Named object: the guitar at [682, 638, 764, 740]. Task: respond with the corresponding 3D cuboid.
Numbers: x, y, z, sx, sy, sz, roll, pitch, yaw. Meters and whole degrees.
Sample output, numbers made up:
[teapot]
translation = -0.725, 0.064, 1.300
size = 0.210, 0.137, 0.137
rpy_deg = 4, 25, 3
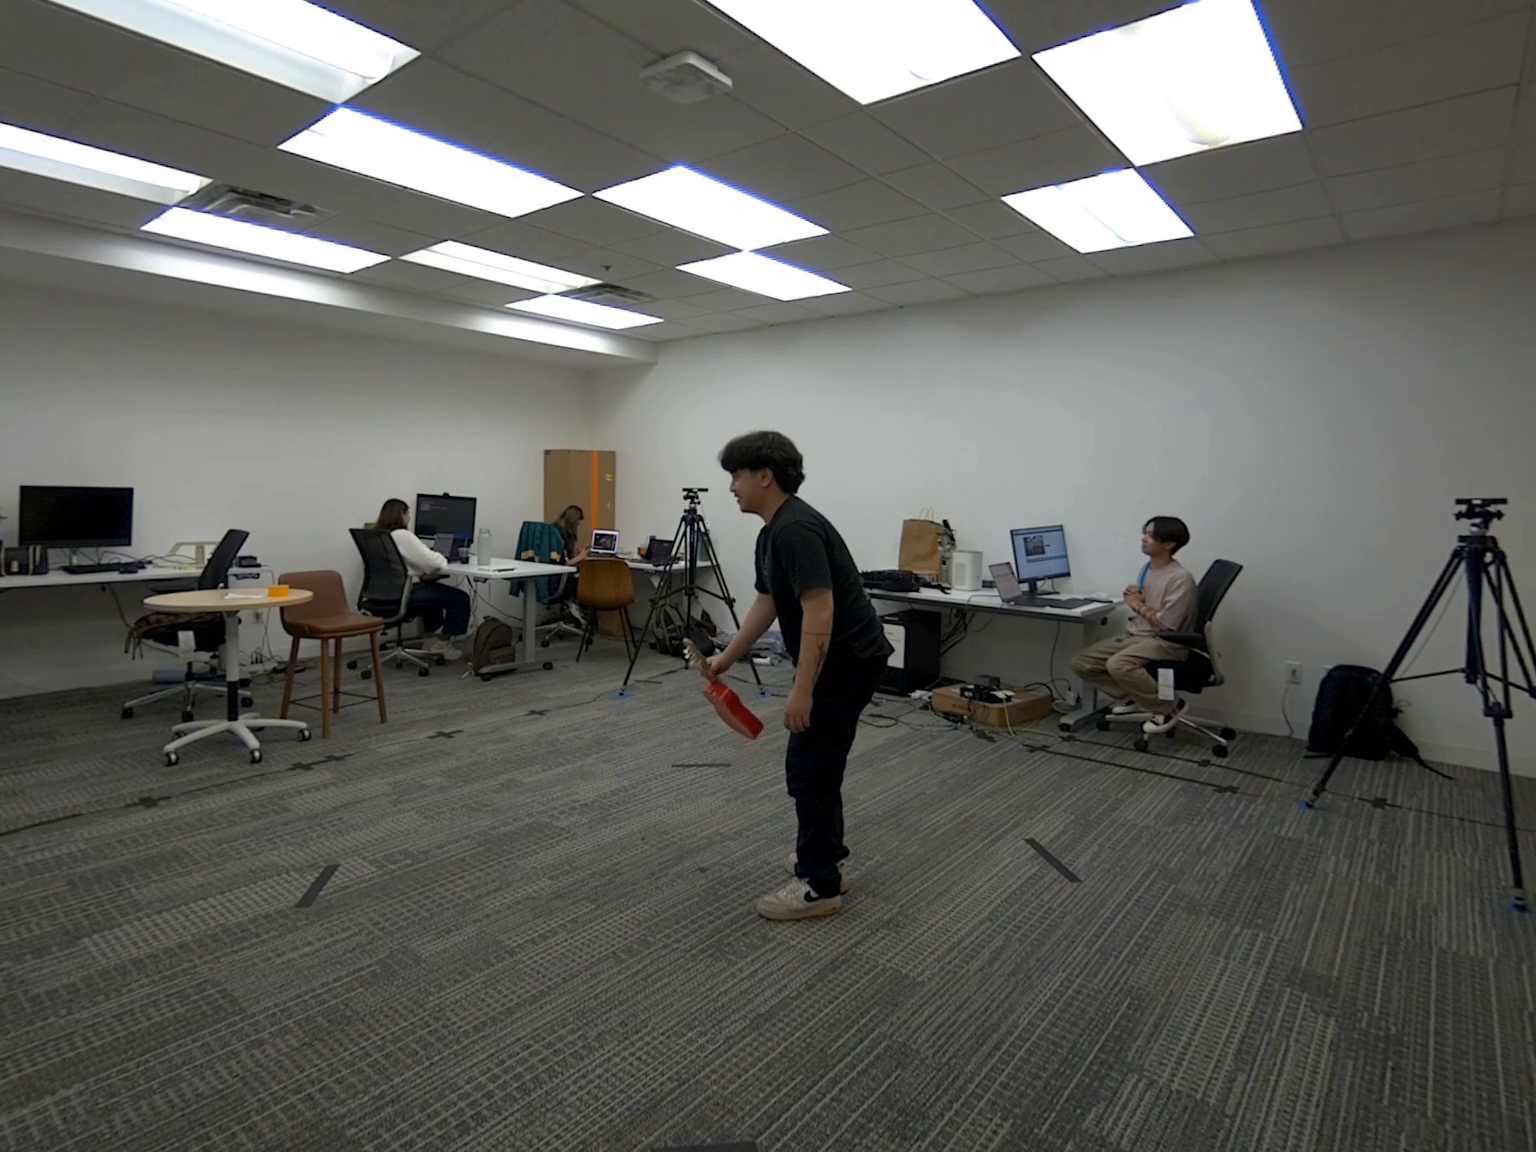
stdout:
[guitar]
translation = -0.217, 0.414, 3.136
size = 0.071, 0.483, 0.199
rpy_deg = -48, 24, -20
